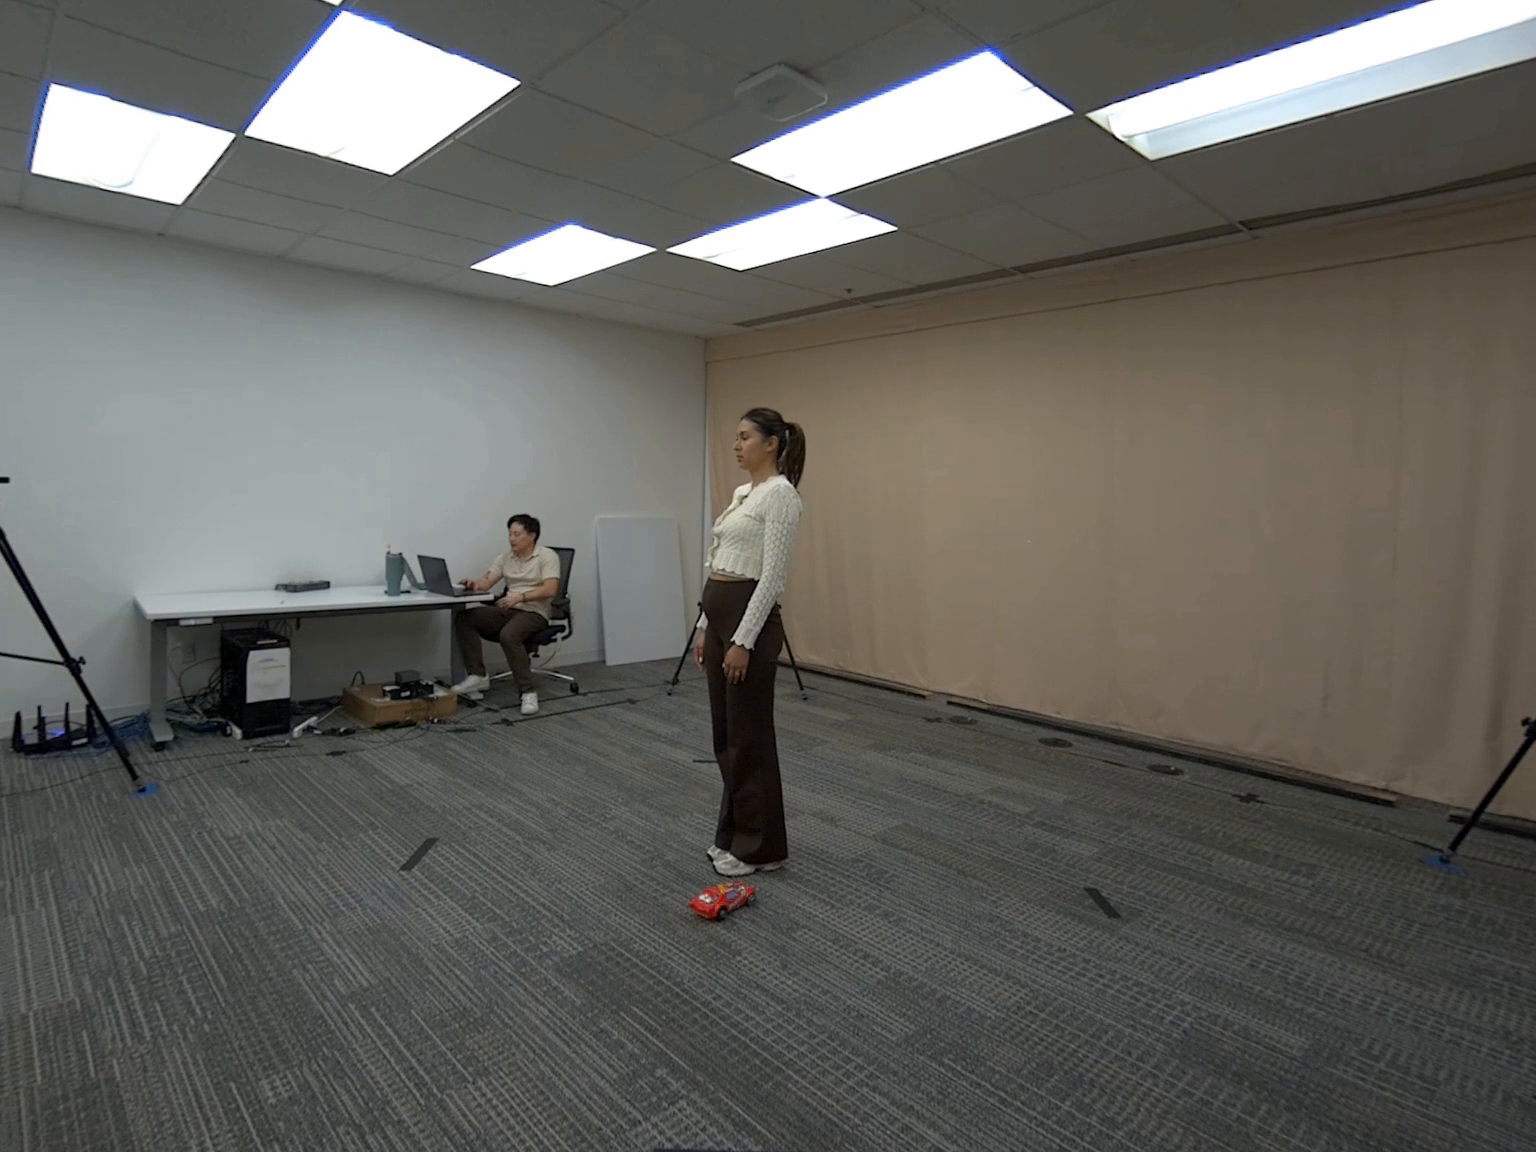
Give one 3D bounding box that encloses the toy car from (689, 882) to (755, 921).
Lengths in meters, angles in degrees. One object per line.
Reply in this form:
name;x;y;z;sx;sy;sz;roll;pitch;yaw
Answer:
toy car;-0.168;1.104;2.830;0.133;0.083;0.247;5;-5;43
